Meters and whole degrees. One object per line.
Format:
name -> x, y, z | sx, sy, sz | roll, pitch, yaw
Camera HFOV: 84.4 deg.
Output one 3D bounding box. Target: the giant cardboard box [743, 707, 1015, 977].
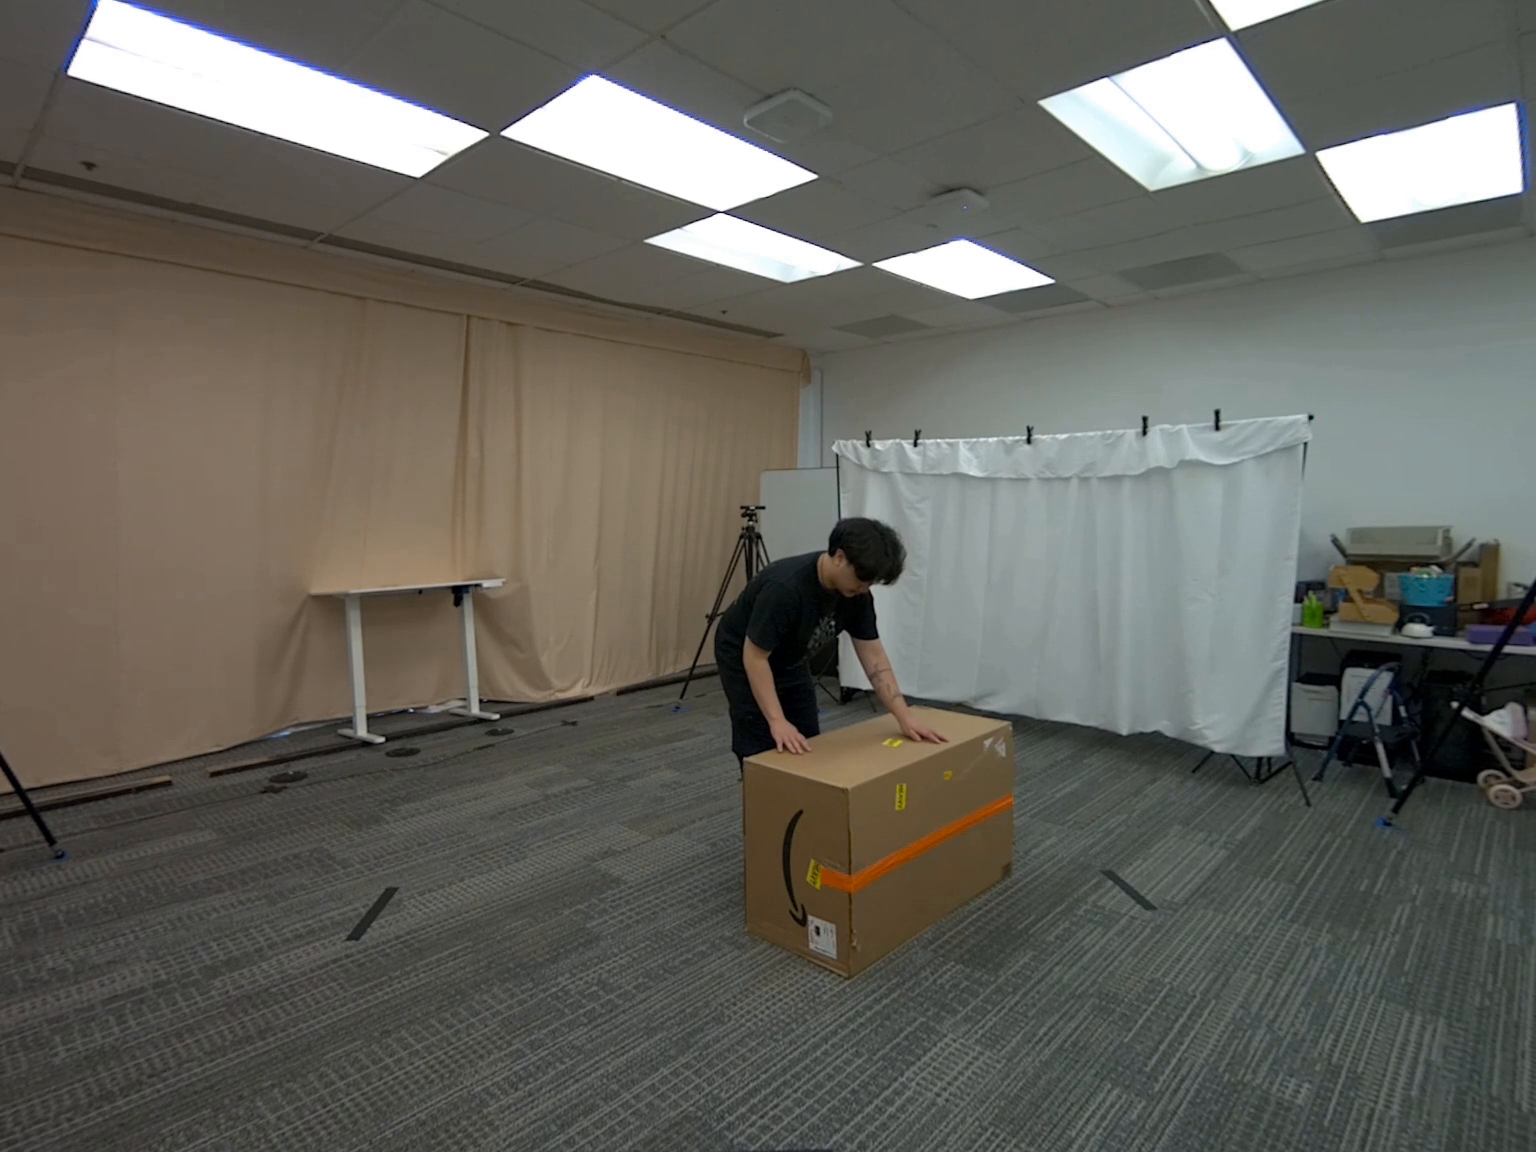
giant cardboard box -> 0.428, 0.861, 2.952 | 0.462, 0.582, 0.996 | 4, 7, 43
